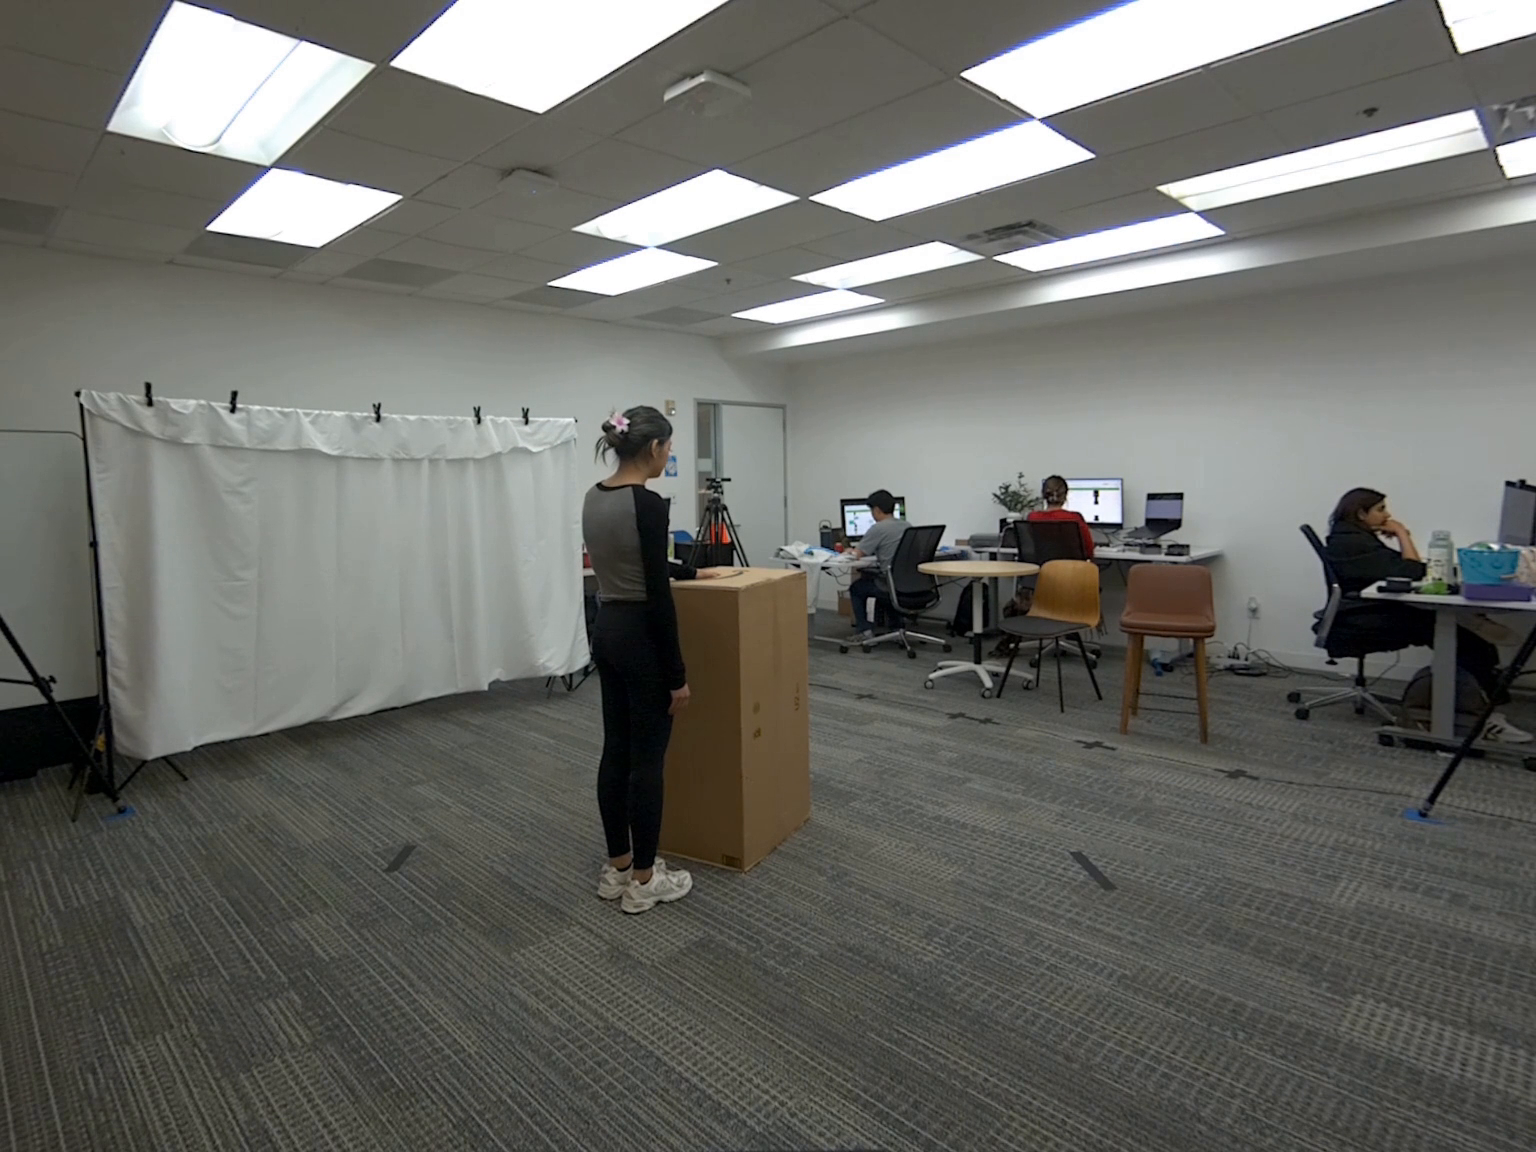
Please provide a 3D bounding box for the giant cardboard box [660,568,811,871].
[{"bbox_3d":[-0.149,0.512,3.342,0.458,1.023,0.572,2,6,27],"label":"giant cardboard box"}]
